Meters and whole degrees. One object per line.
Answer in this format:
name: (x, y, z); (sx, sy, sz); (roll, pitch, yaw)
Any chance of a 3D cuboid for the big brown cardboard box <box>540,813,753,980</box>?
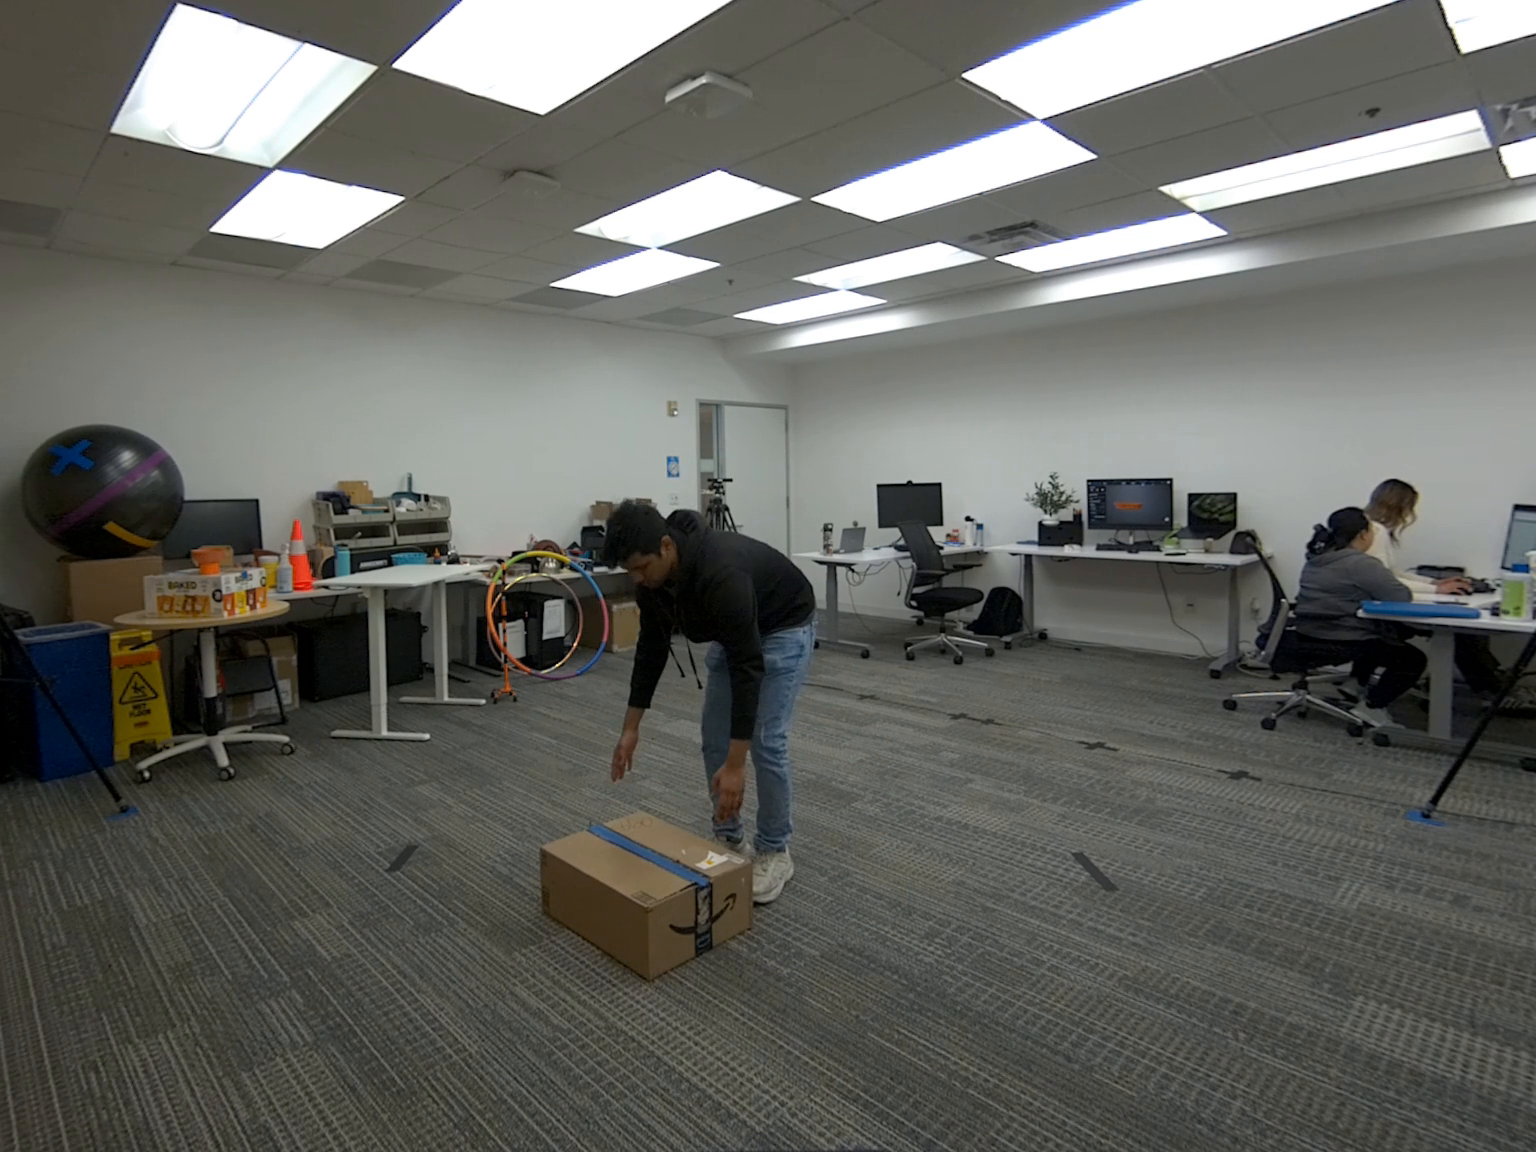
big brown cardboard box: (-0.387, 0.986, 2.713); (0.607, 0.232, 0.407); (4, 8, 45)
